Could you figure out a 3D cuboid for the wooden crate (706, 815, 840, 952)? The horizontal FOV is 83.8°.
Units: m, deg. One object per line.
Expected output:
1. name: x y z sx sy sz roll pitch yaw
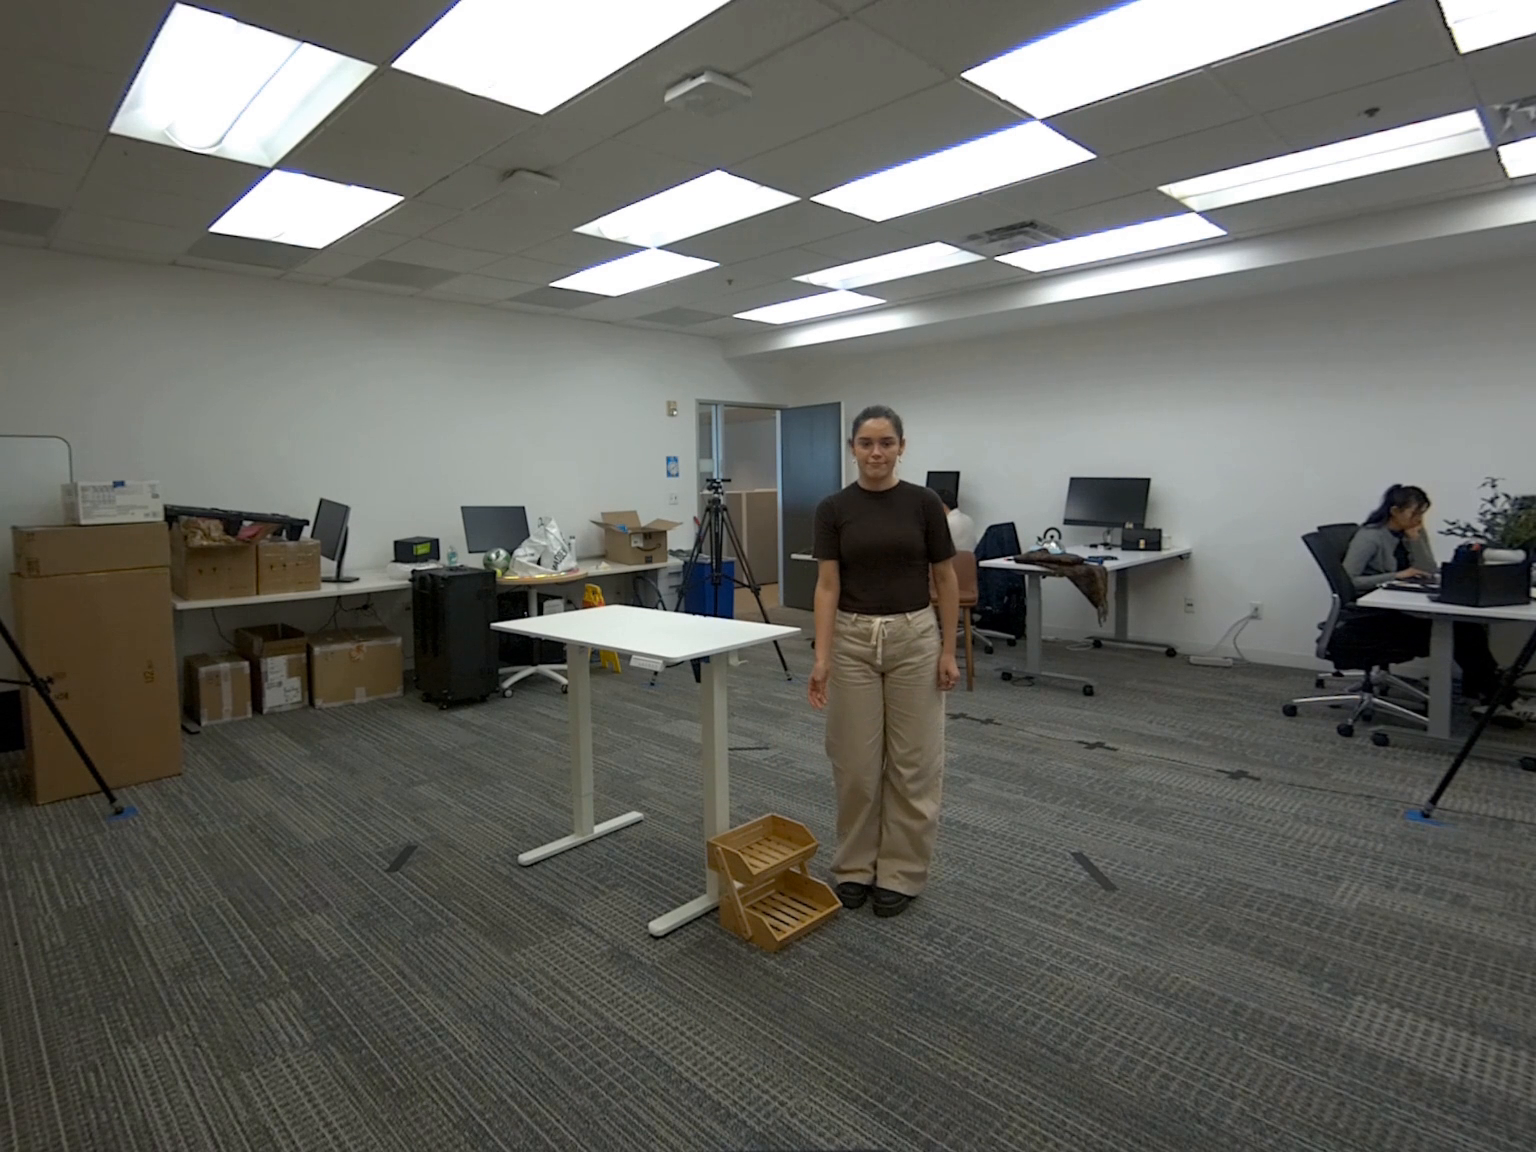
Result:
1. wooden crate: 0.027 0.956 2.704 0.311 0.272 0.316 3 7 44
